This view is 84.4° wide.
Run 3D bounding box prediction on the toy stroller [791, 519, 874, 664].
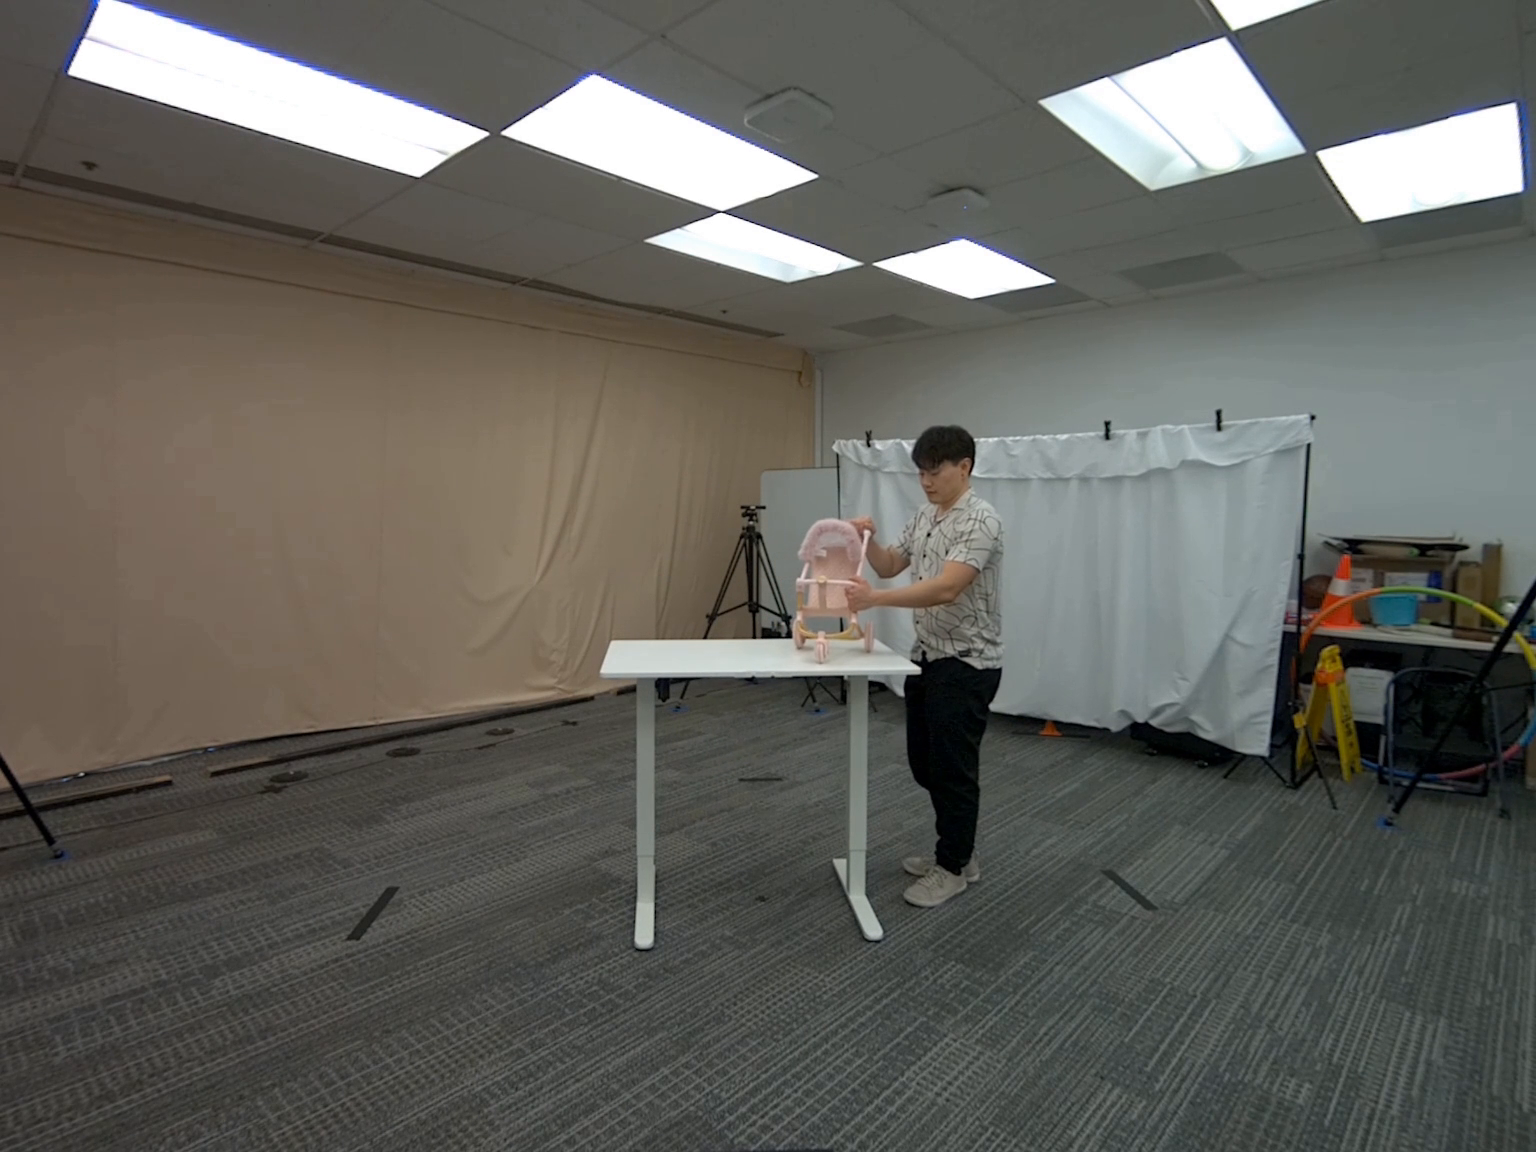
[{"bbox_3d":[0.226,0.044,2.905,0.288,0.538,0.332,1,-11,21],"label":"toy stroller"}]
